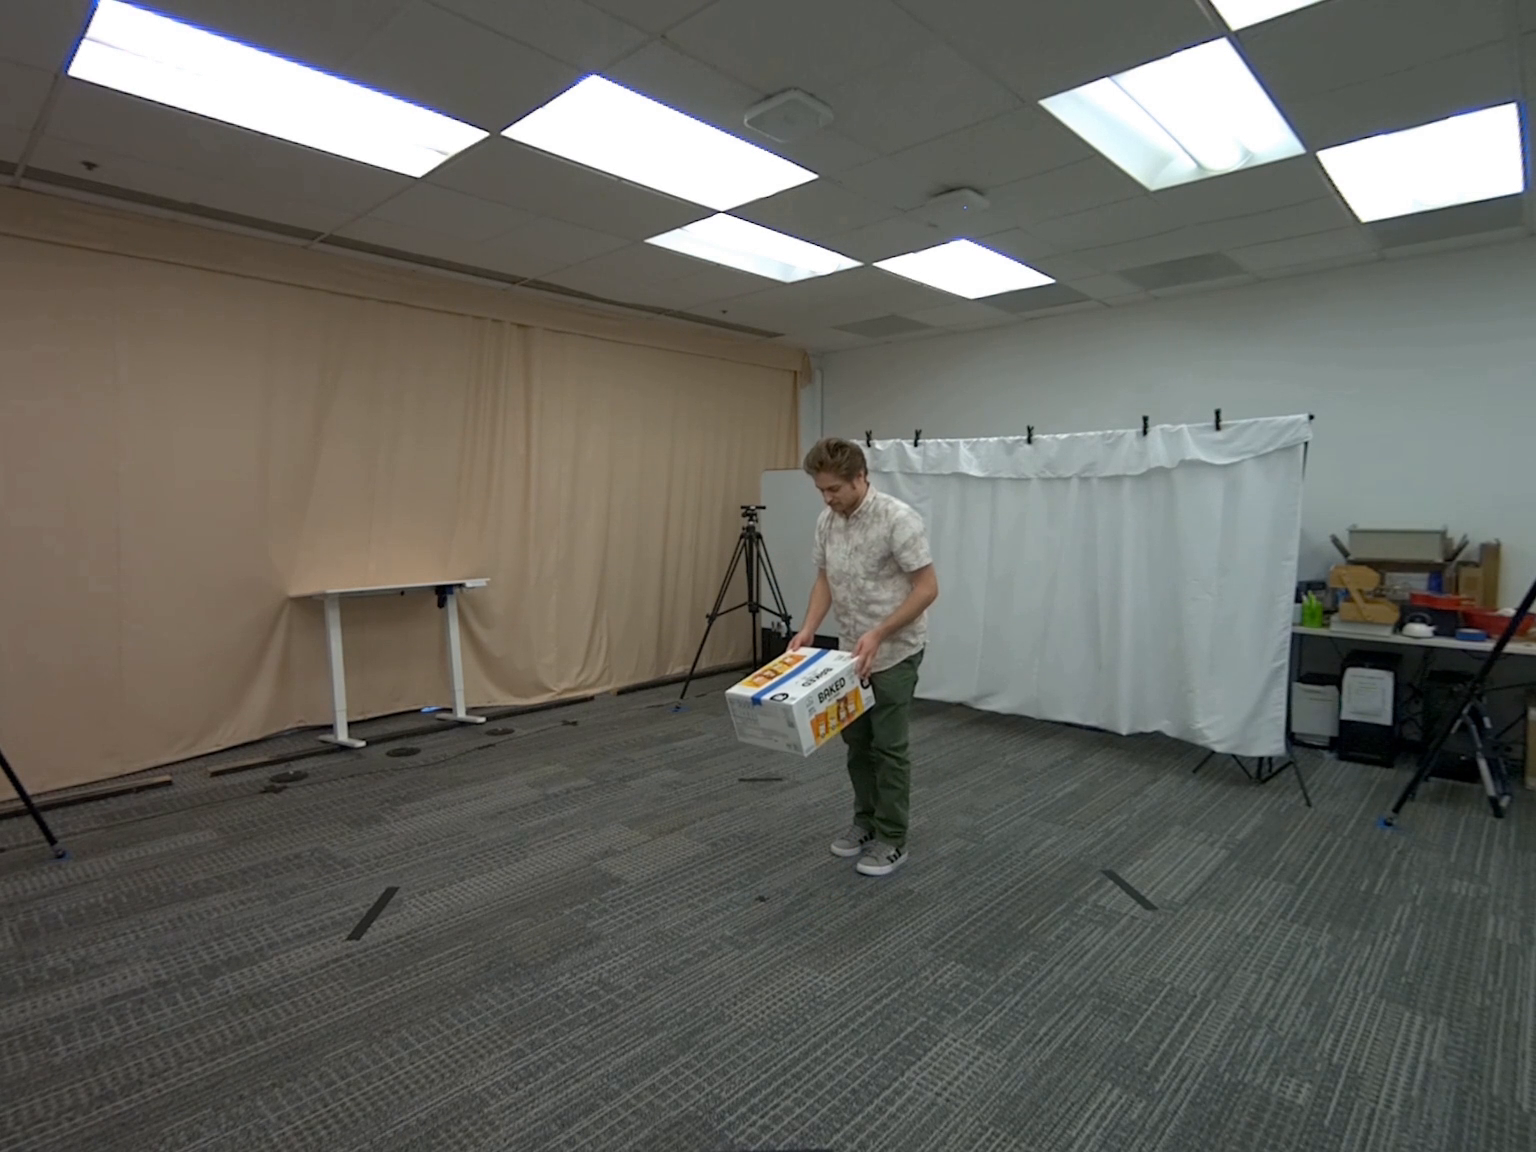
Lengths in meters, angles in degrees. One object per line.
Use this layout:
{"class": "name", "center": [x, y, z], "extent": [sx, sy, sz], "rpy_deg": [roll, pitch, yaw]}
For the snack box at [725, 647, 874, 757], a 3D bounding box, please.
{"class": "snack box", "center": [0.123, 0.452, 3.073], "extent": [0.397, 0.203, 0.351], "rpy_deg": [-28, 19, -39]}
